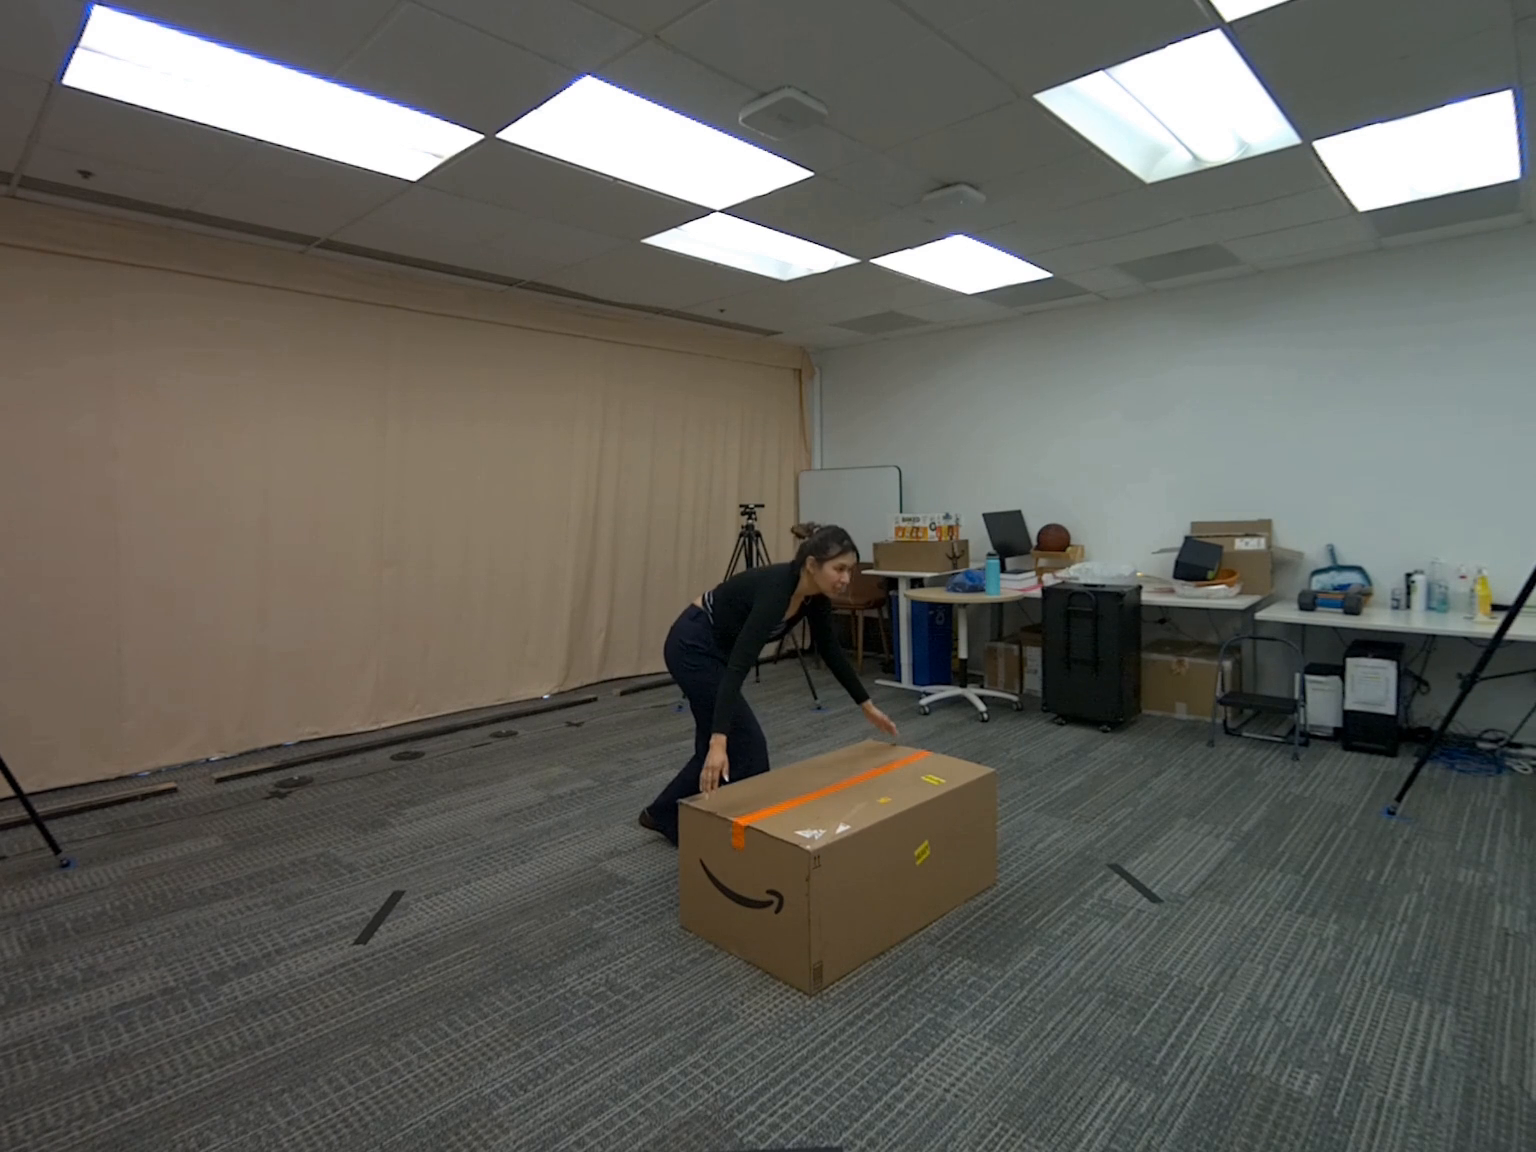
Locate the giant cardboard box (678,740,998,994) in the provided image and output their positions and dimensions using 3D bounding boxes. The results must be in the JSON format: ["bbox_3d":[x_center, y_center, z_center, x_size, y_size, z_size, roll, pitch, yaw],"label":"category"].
[{"bbox_3d":[0.275,0.928,2.909,0.995,0.425,0.596,-6,6,-44],"label":"giant cardboard box"}]
